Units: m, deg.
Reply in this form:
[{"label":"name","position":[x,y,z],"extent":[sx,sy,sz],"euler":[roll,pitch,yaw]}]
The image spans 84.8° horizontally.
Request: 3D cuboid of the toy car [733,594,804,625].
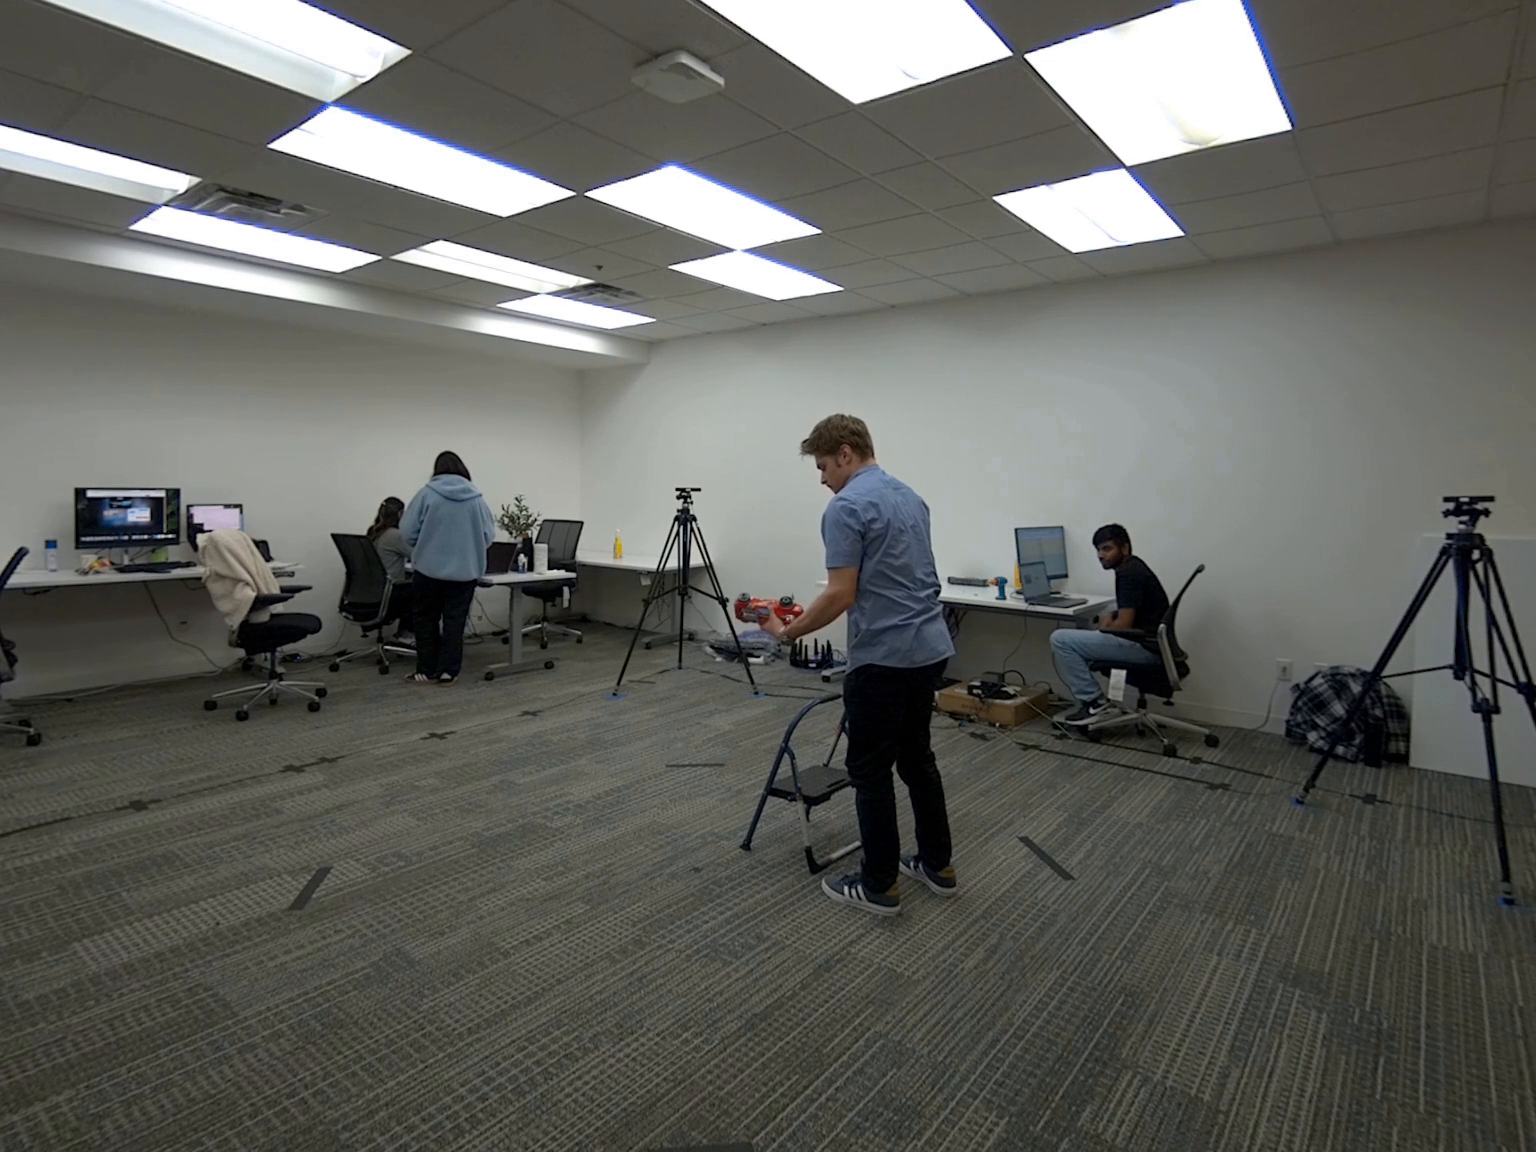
[{"label":"toy car","position":[0.006,0.124,2.916],"extent":[0.260,0.126,0.084],"euler":[12,51,19]}]
